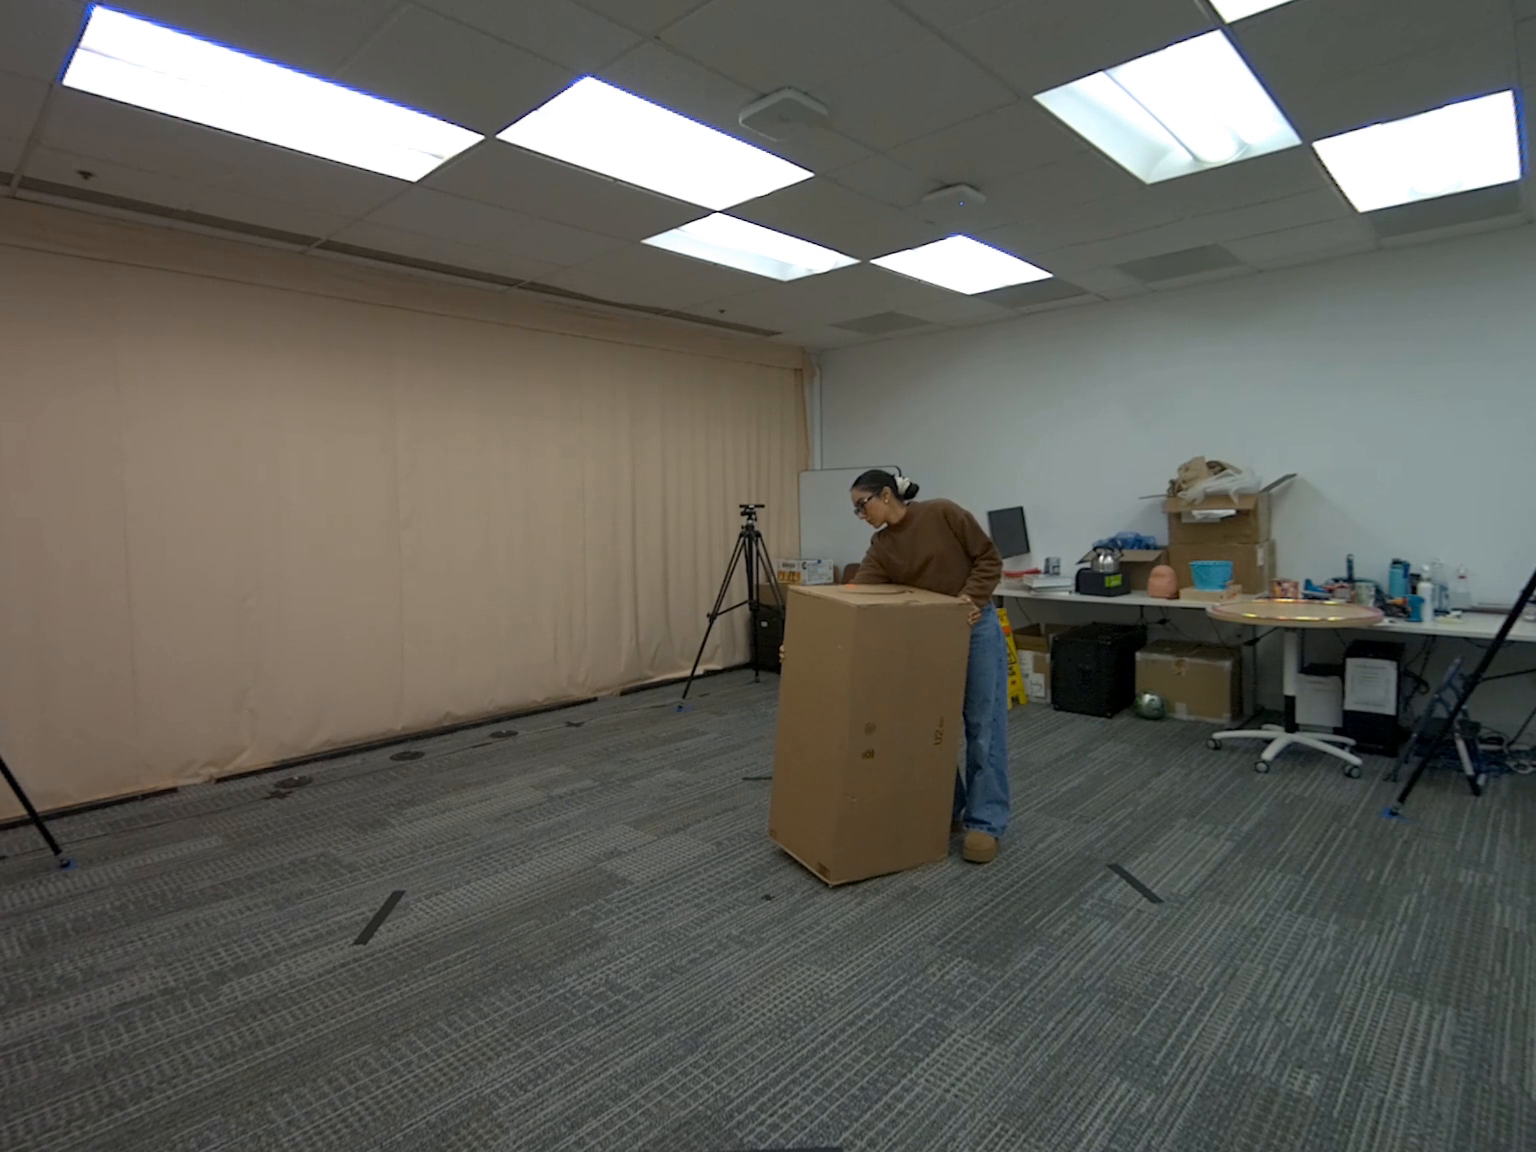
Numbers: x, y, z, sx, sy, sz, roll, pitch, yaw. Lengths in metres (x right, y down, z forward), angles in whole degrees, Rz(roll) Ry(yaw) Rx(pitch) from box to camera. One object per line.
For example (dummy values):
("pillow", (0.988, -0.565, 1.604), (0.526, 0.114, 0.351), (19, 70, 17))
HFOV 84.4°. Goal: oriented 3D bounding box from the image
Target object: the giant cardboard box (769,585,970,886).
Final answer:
("giant cardboard box", (0.386, 0.577, 3.276), (0.561, 1.022, 0.440), (0, 8, -32))
